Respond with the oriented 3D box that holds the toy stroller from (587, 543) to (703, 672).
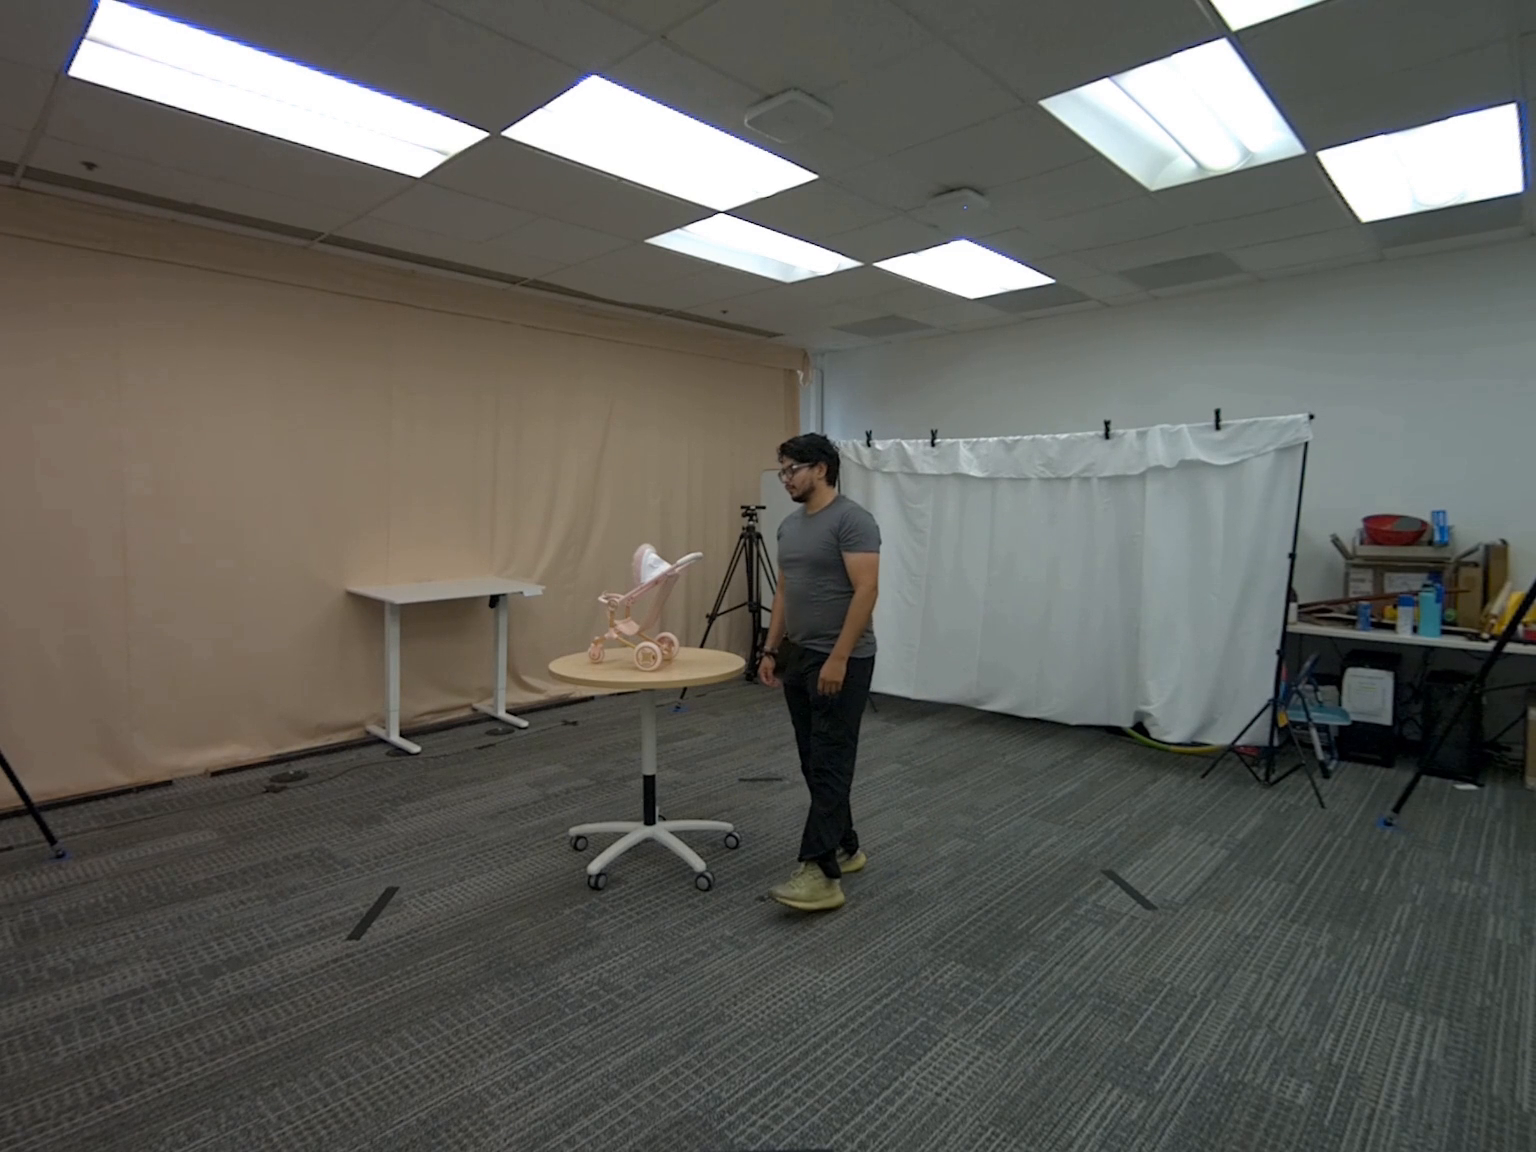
[{"bbox_3d":[-0.490,0.123,3.242,0.347,0.534,0.277,17,7,14],"label":"toy stroller"}]
